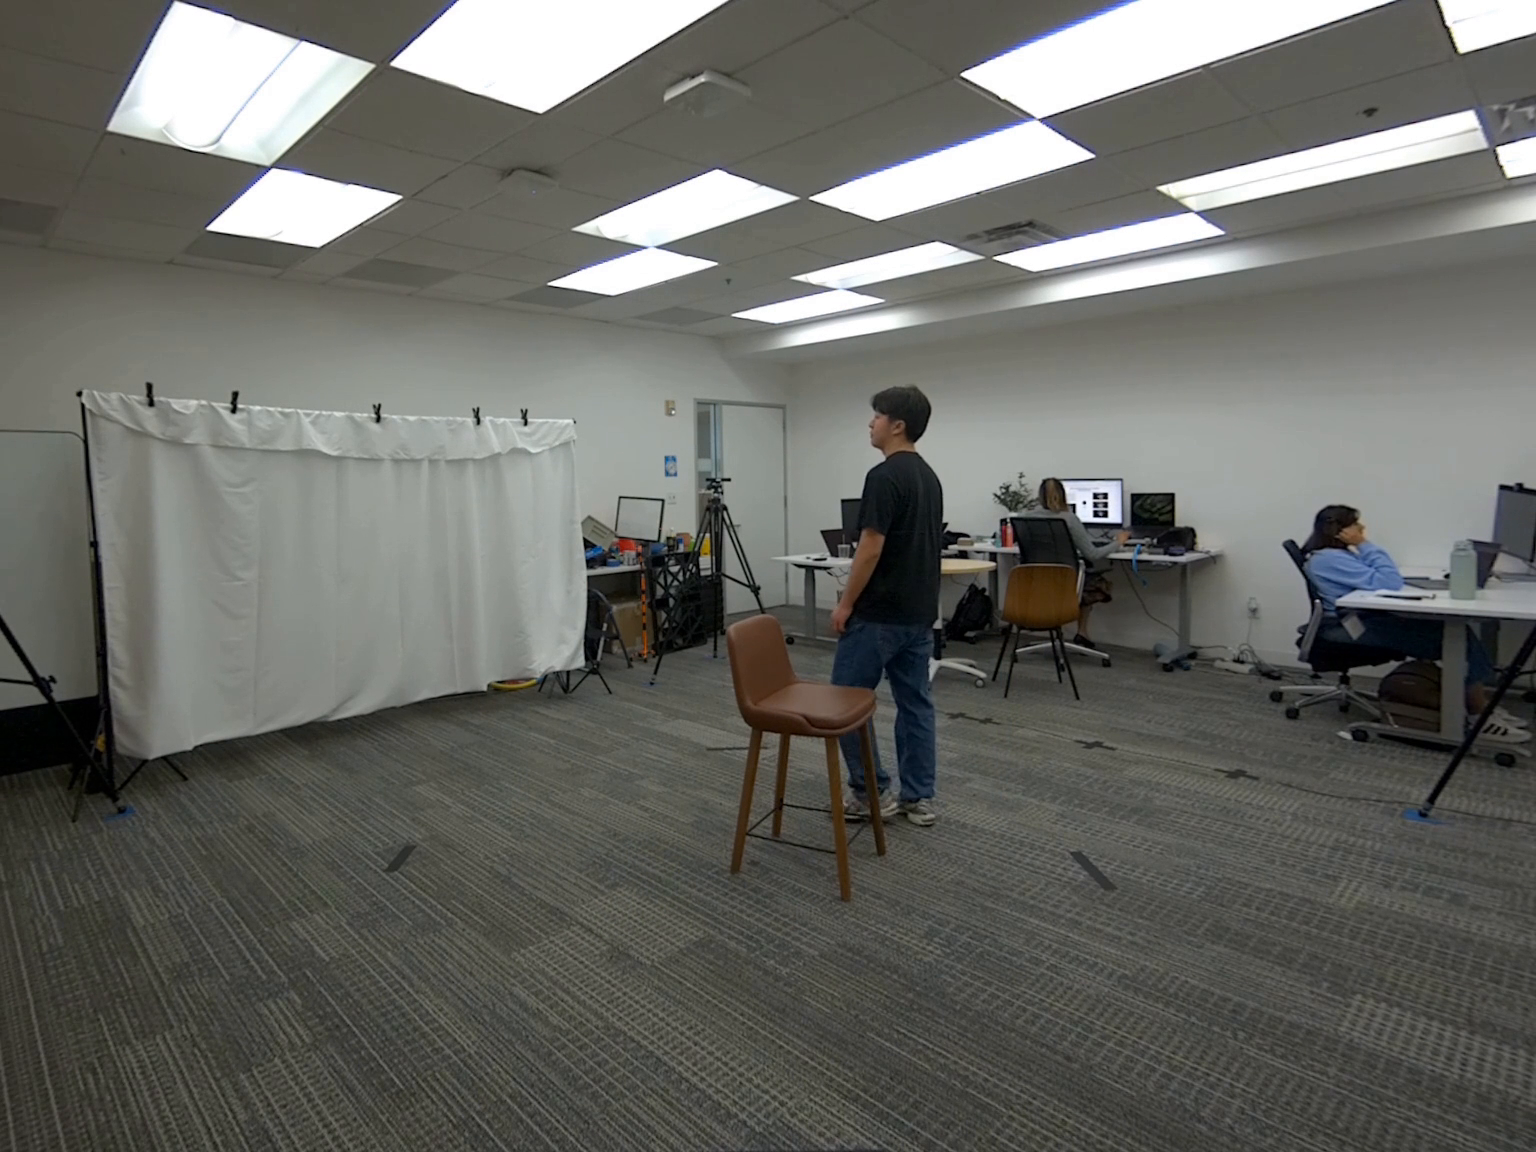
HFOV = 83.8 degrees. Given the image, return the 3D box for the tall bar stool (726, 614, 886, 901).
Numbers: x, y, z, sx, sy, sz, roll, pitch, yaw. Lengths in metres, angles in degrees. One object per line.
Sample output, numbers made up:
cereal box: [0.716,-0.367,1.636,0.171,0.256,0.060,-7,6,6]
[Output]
tall bar stool: [0.141,0.610,3.068,0.479,0.888,0.446,0,3,28]
